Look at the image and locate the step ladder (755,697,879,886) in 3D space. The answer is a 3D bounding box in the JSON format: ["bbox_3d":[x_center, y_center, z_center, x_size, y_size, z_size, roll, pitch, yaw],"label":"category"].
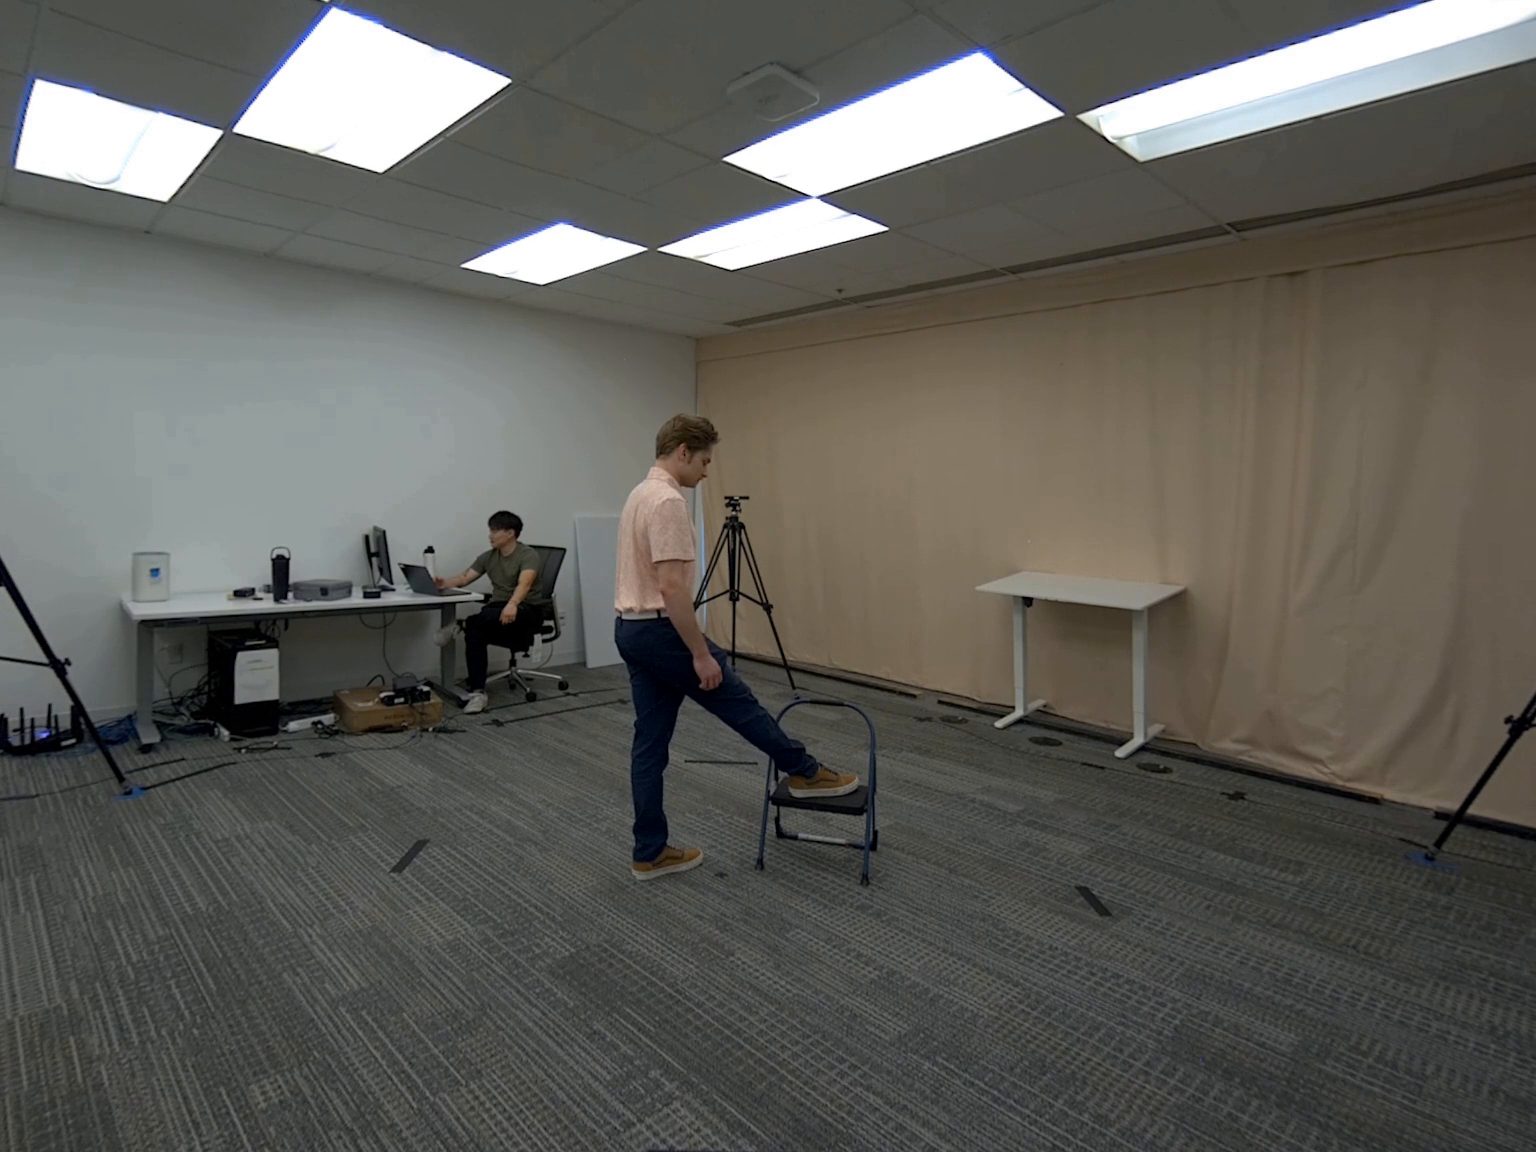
[{"bbox_3d":[0.200,0.799,3.256,0.436,0.605,0.346,2,3,14],"label":"step ladder"}]
